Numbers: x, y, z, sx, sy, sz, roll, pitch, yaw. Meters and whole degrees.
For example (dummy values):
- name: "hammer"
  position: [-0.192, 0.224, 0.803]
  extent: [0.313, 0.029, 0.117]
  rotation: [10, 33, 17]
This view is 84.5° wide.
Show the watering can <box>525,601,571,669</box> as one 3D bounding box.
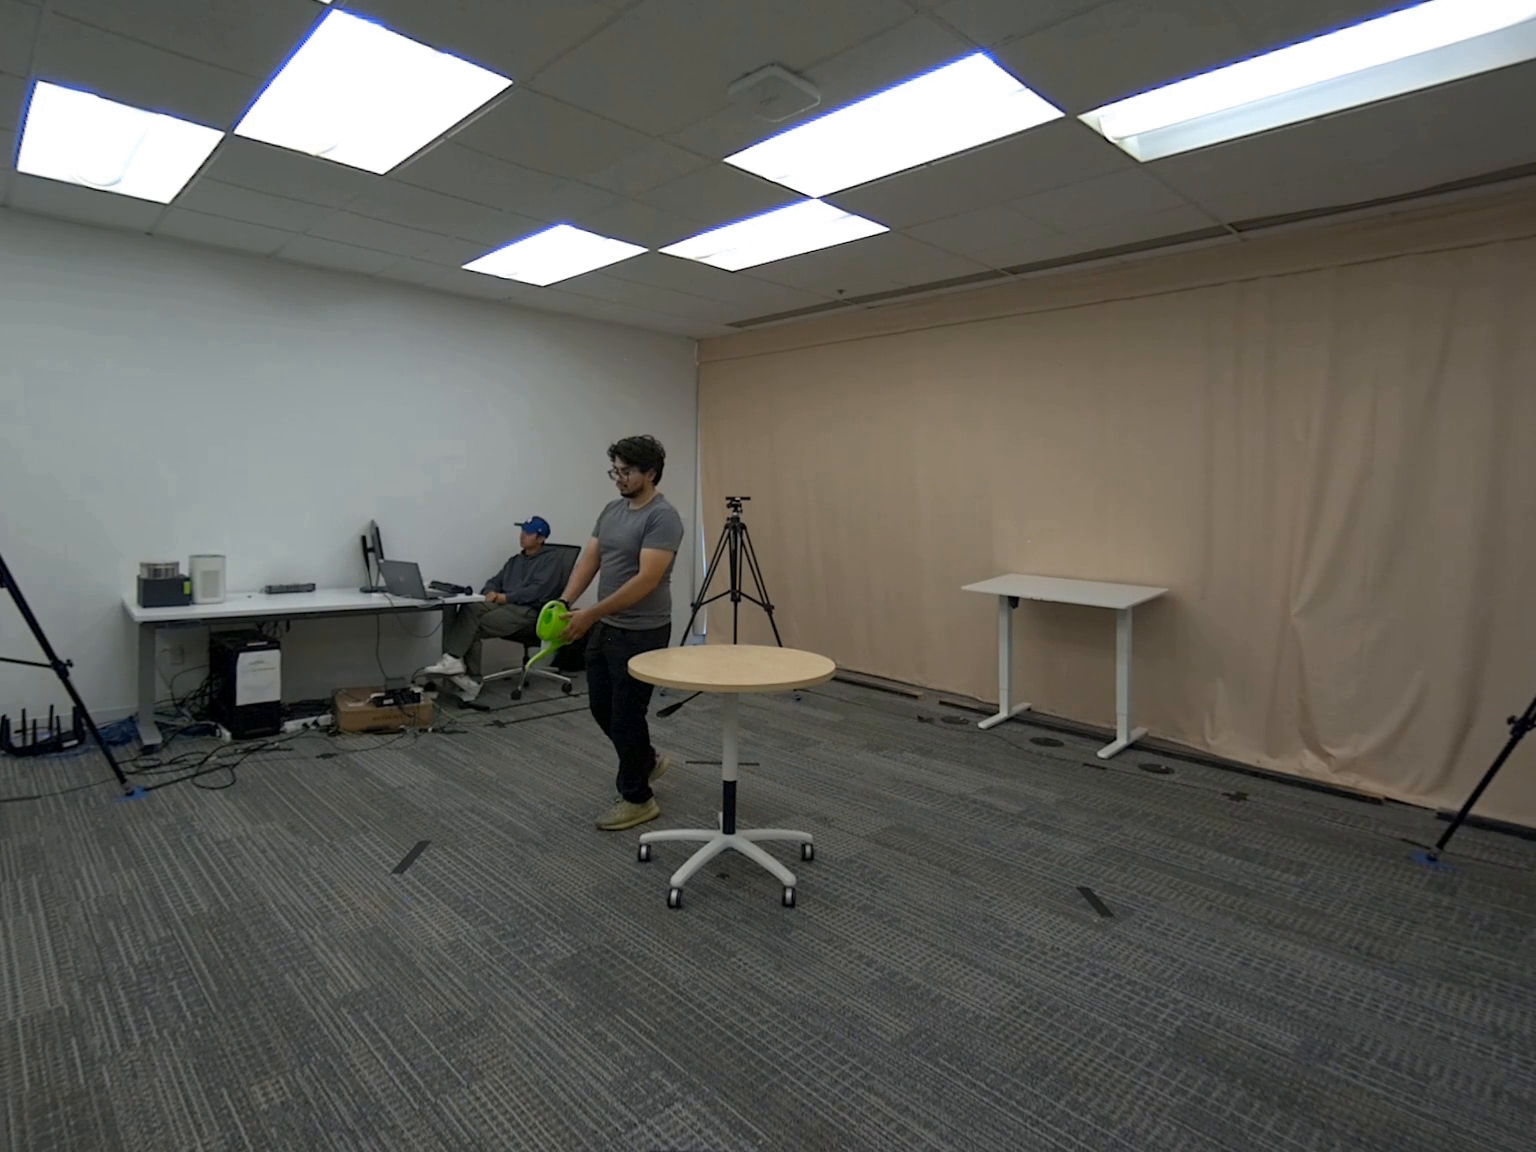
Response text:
- name: "watering can"
  position: [-0.875, 0.239, 3.323]
  extent: [0.101, 0.278, 0.172]
  rotation: [30, 6, 37]
